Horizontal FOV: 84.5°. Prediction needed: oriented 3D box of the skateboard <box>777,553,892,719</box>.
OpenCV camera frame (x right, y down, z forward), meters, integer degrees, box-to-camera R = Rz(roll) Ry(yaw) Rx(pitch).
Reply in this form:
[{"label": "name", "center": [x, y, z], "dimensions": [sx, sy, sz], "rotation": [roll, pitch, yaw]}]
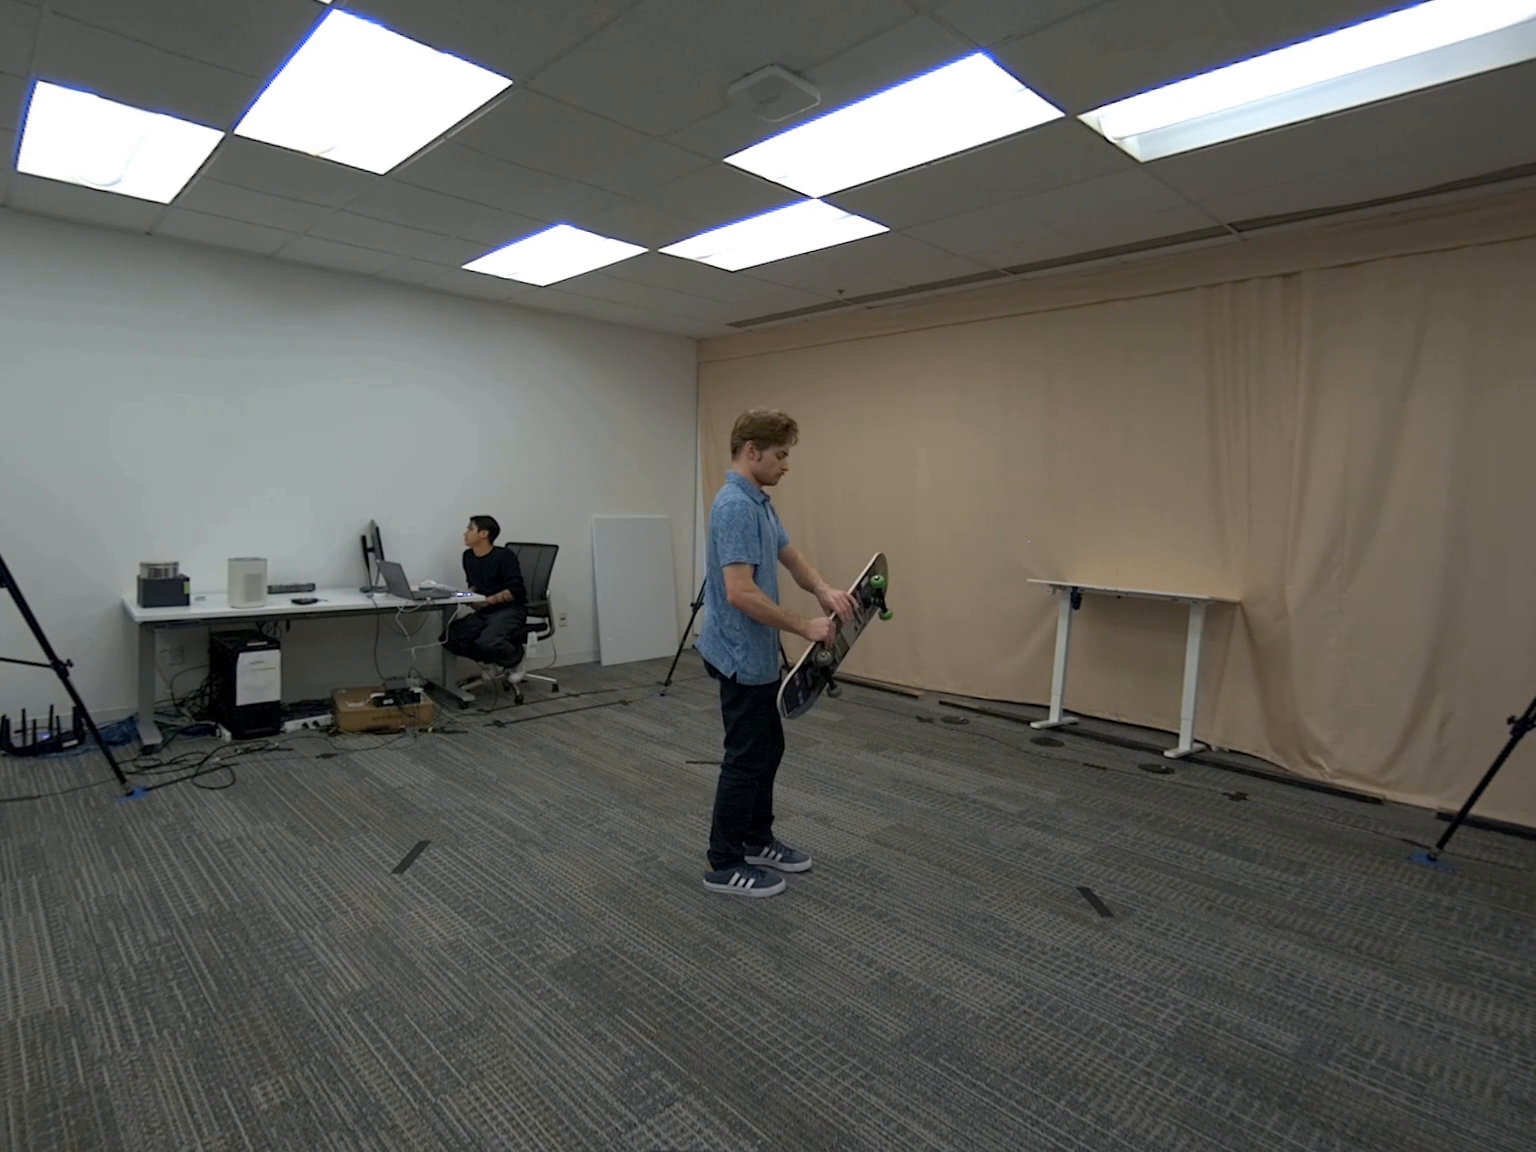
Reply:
[{"label": "skateboard", "center": [0.280, 0.197, 2.924], "dimensions": [0.113, 0.188, 0.786], "rotation": [8, 43, 35]}]
